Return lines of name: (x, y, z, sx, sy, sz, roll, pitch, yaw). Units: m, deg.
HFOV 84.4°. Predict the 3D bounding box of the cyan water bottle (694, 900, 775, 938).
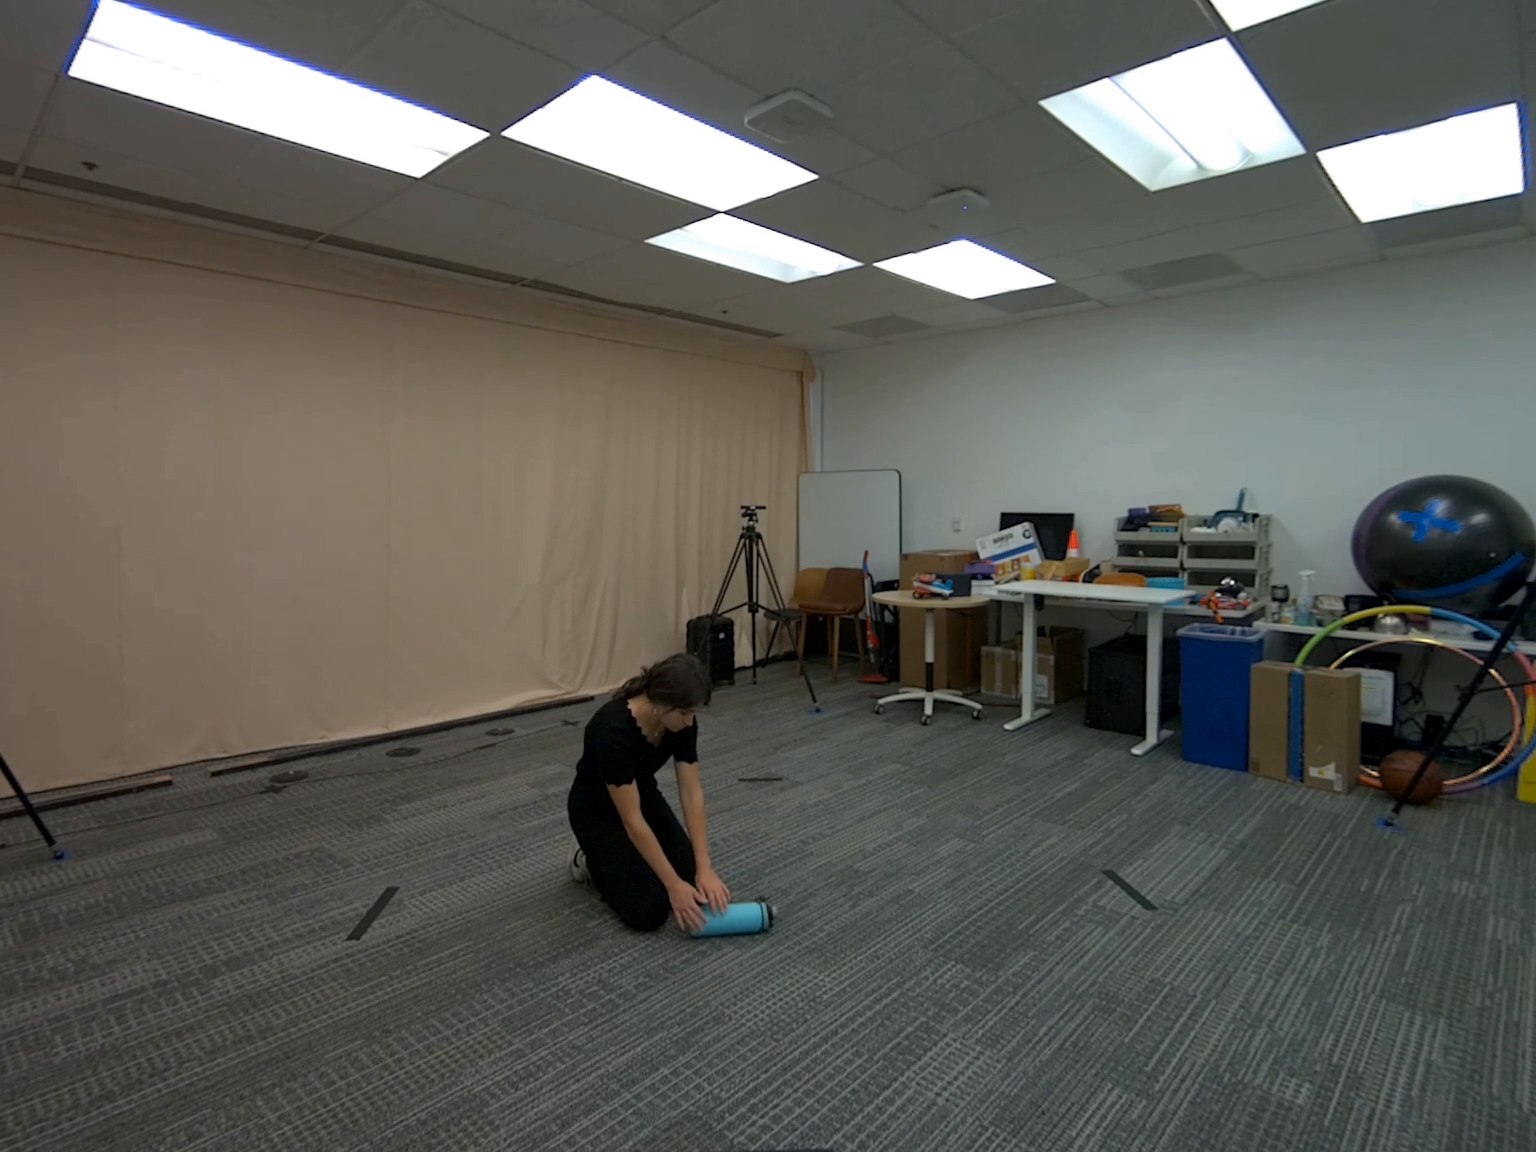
cyan water bottle: (-0.109, 1.117, 2.733, 0.281, 0.092, 0.093, -2, 4, -7)
